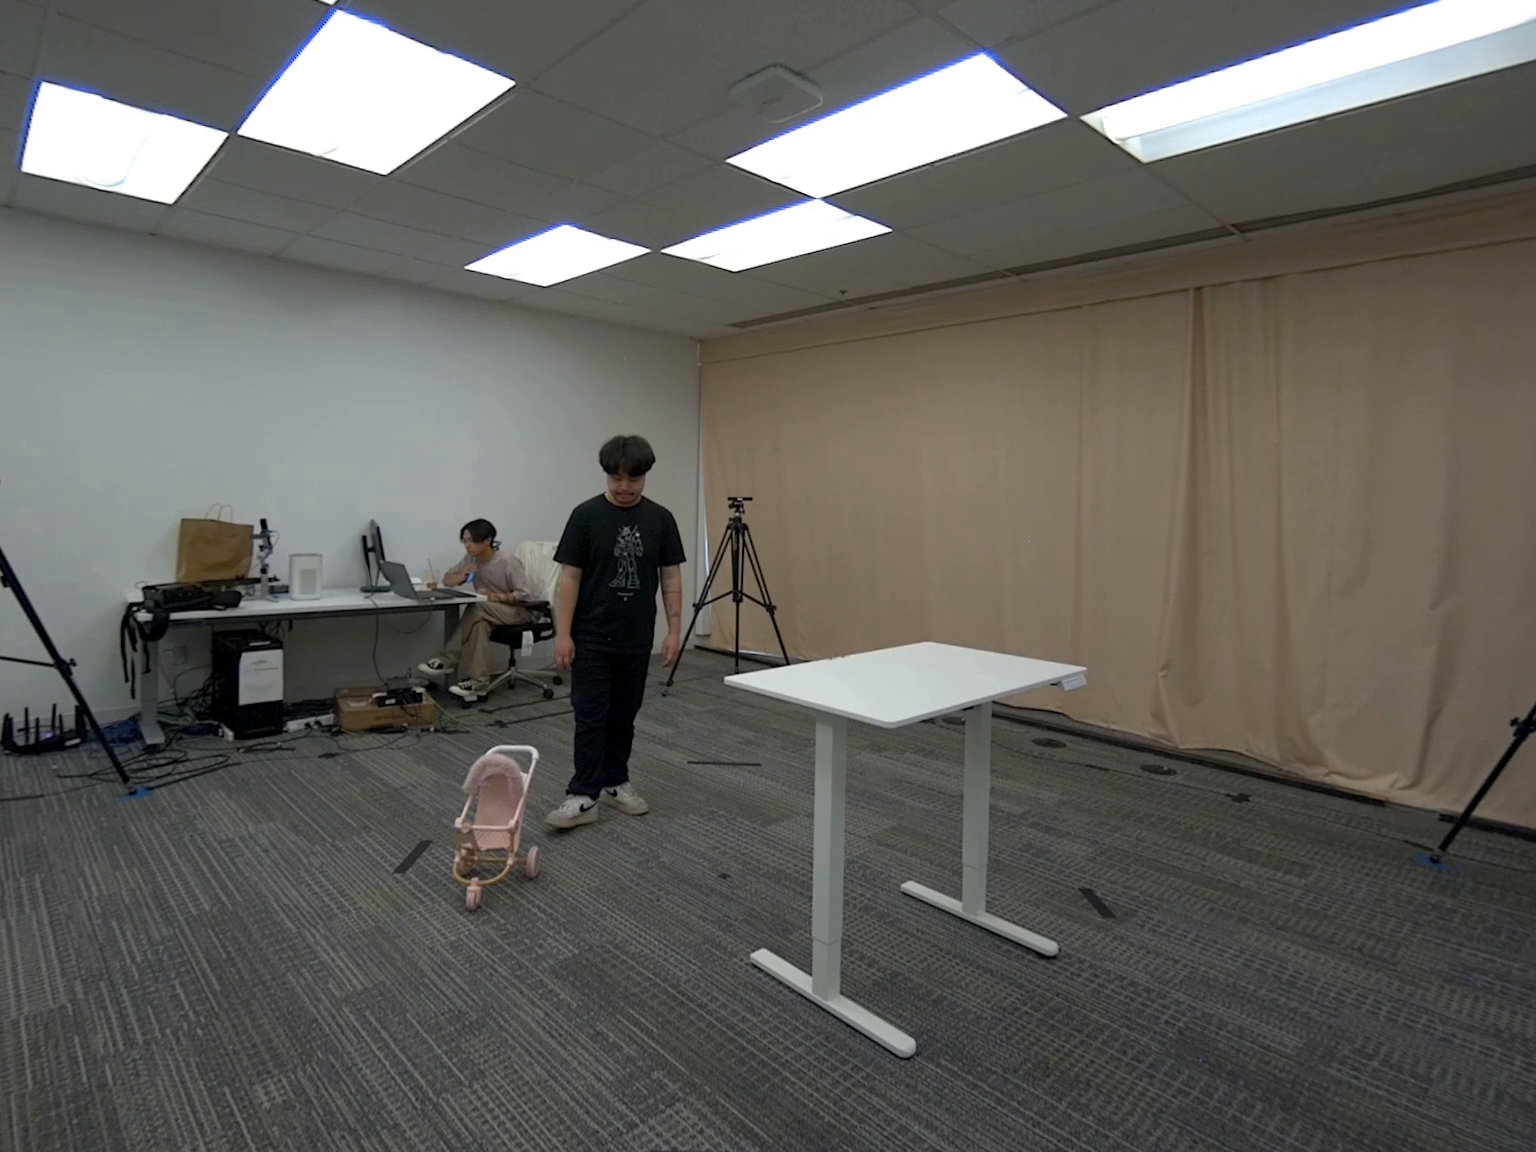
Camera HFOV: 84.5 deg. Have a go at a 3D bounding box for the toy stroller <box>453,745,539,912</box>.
[{"bbox_3d":[-0.996,0.880,2.994,0.283,0.539,0.336,0,-12,6],"label":"toy stroller"}]
